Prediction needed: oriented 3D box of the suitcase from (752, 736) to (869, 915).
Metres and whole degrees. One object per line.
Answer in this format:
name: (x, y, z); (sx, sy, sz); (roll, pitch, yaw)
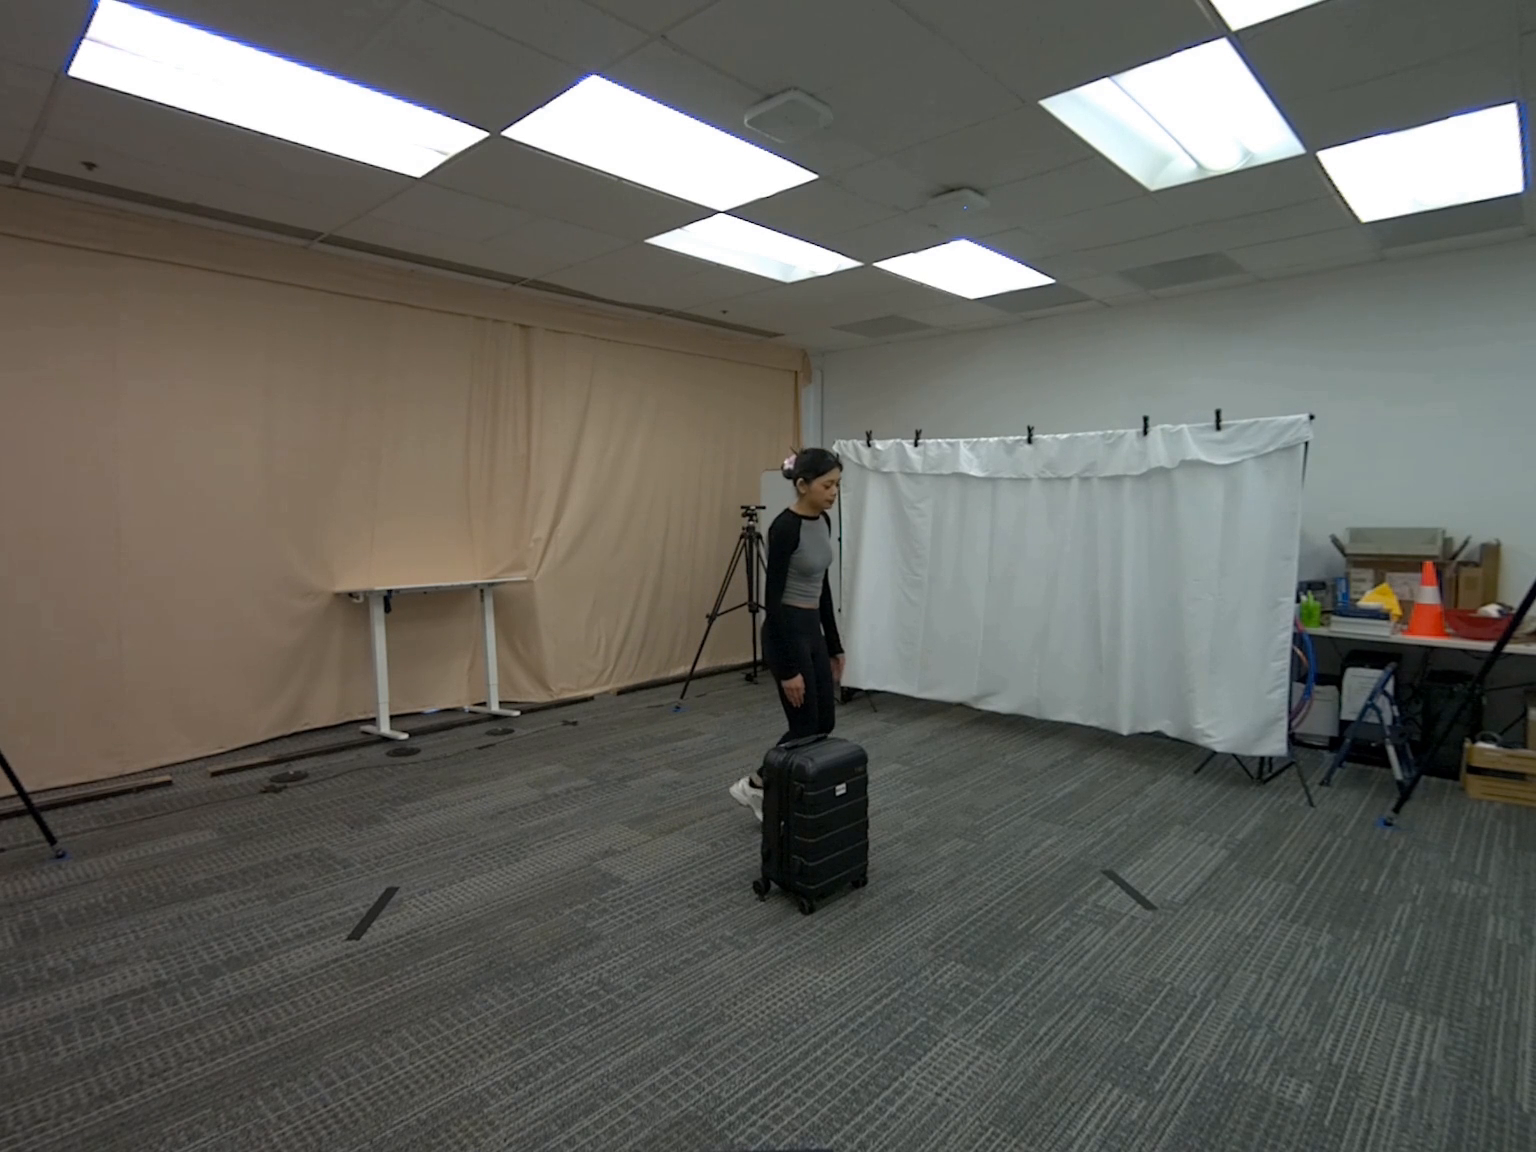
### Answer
suitcase: (0.172, 0.865, 3.026); (0.257, 0.548, 0.364); (7, 7, 44)
